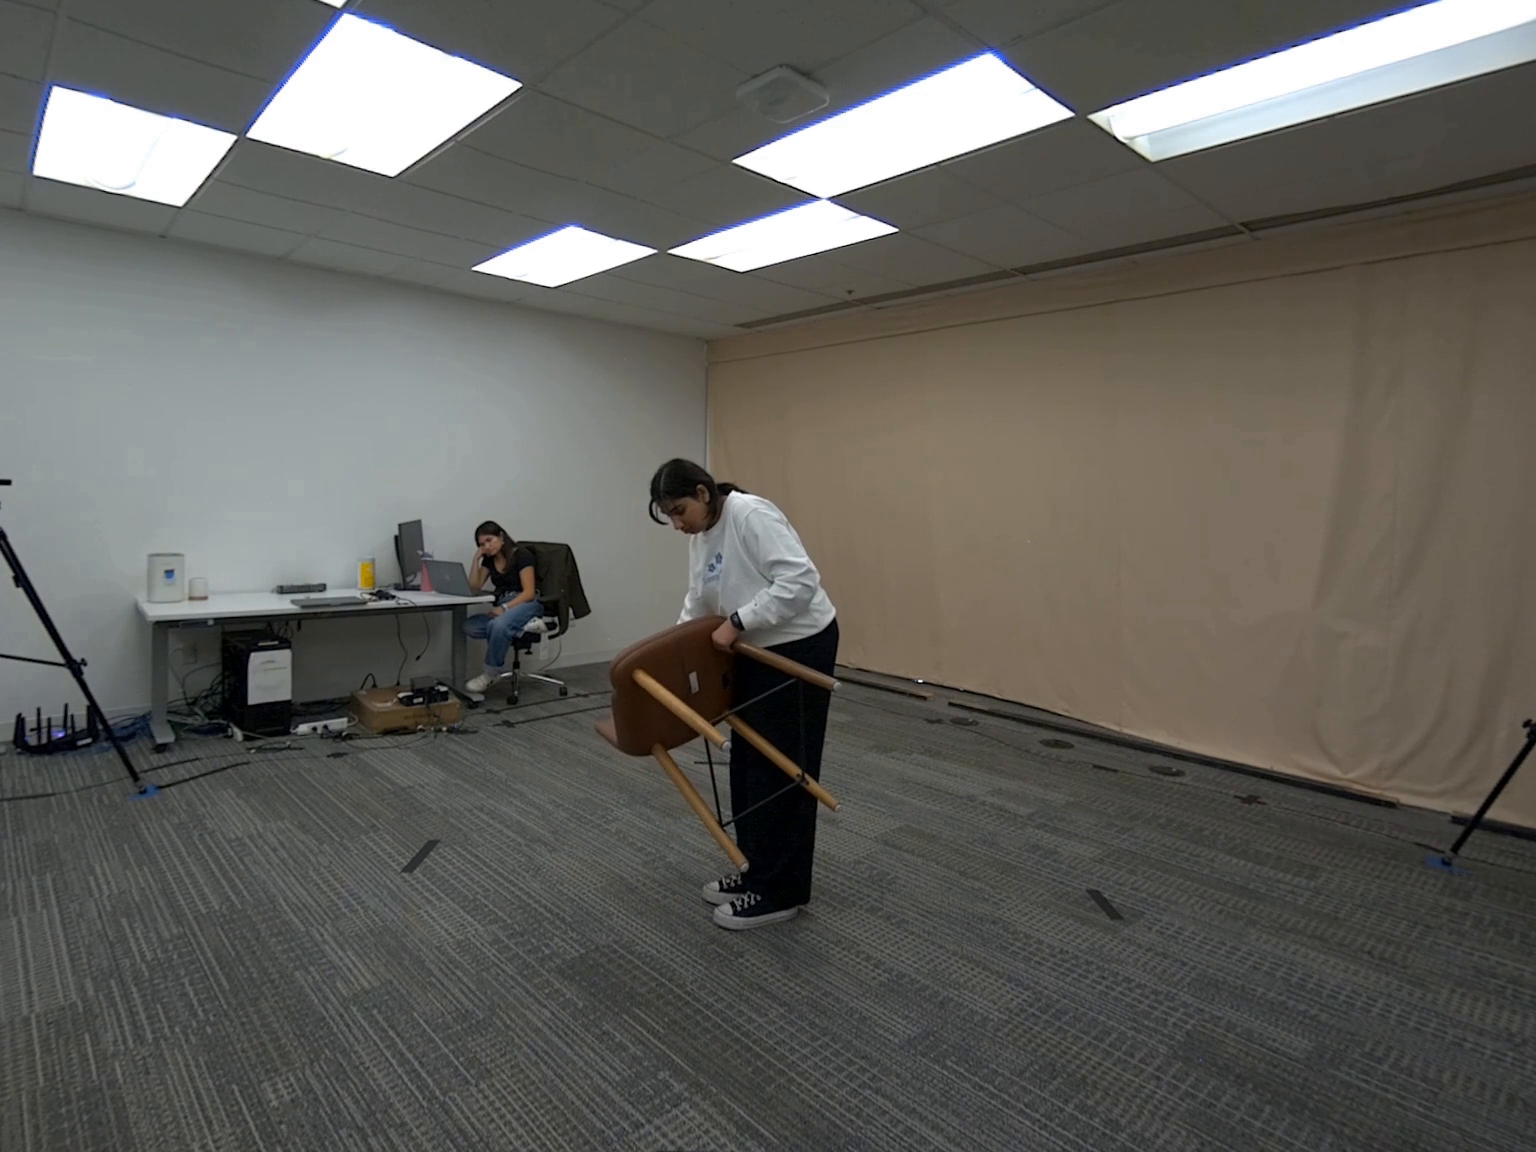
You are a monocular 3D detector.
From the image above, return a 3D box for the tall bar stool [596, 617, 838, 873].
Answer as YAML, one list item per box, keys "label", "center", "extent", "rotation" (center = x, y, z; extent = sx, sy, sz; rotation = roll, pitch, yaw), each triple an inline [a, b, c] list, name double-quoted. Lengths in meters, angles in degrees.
- label: "tall bar stool"
  center: [-0.221, 0.432, 2.632]
  extent: [0.451, 0.459, 0.917]
  rotation: [-22, 30, -31]
